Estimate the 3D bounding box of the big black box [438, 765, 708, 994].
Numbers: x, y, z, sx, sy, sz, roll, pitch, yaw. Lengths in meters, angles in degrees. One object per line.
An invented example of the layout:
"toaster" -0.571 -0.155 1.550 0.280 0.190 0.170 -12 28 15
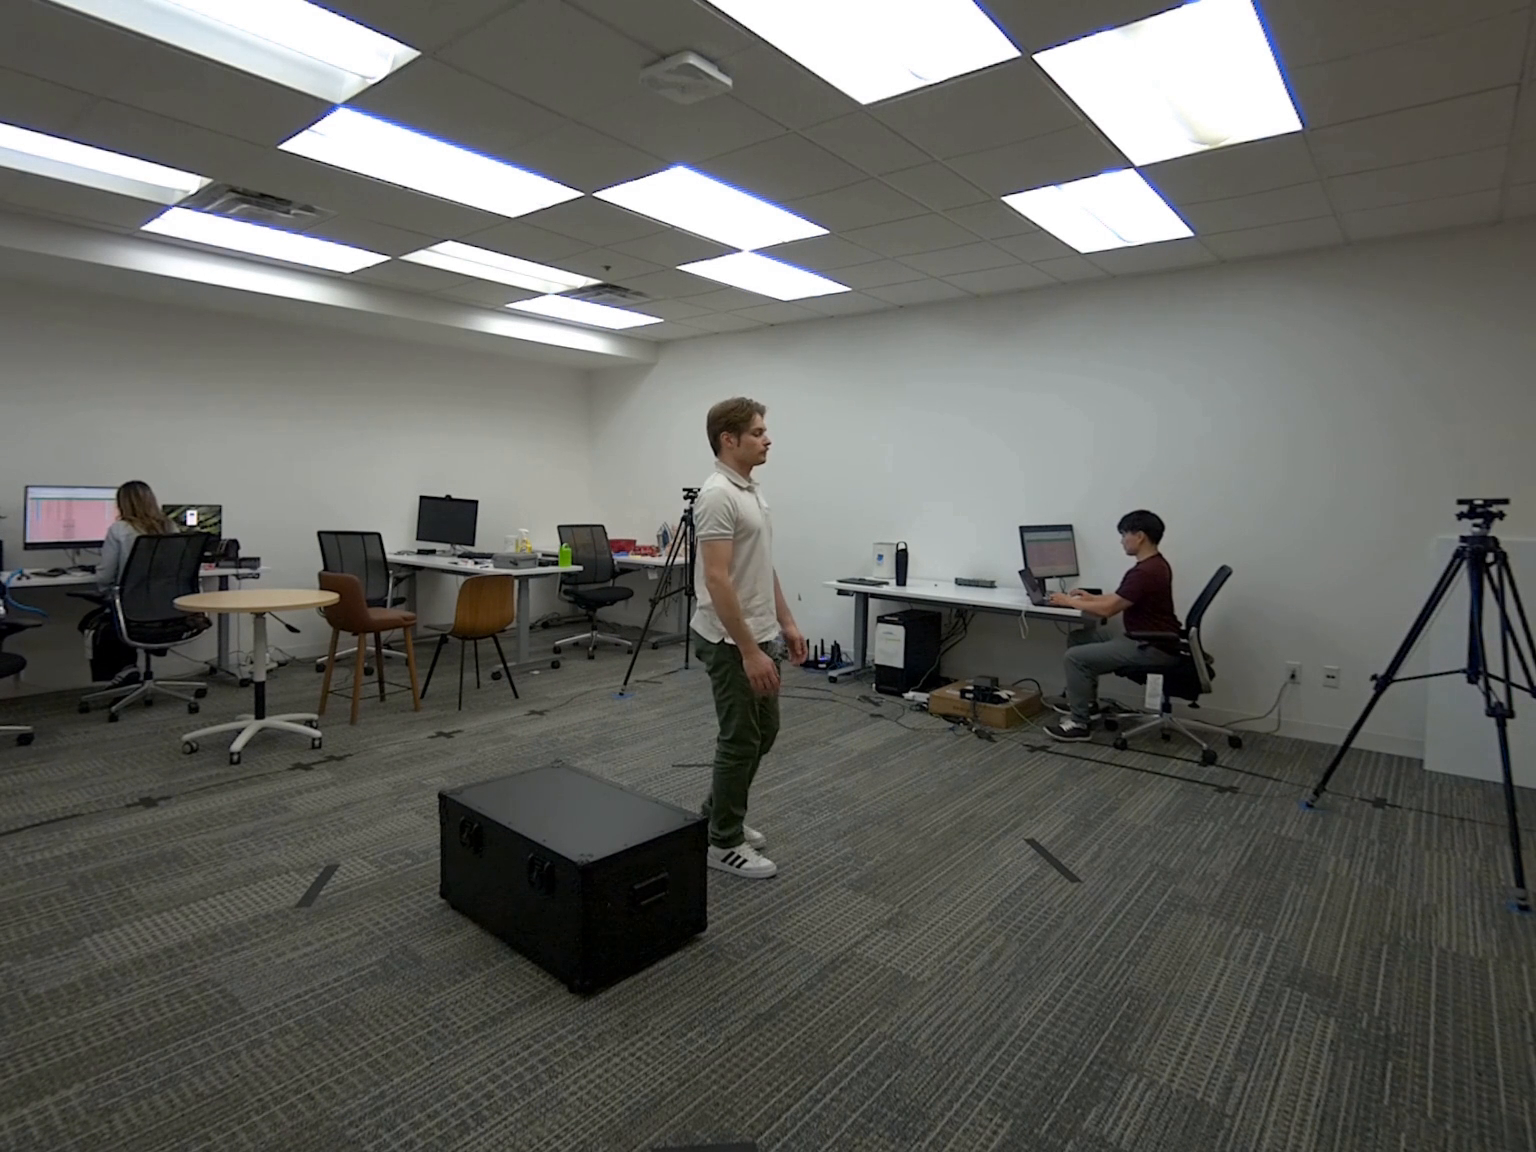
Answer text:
"big black box" -0.670 0.903 2.742 0.898 0.383 0.508 6 8 42
